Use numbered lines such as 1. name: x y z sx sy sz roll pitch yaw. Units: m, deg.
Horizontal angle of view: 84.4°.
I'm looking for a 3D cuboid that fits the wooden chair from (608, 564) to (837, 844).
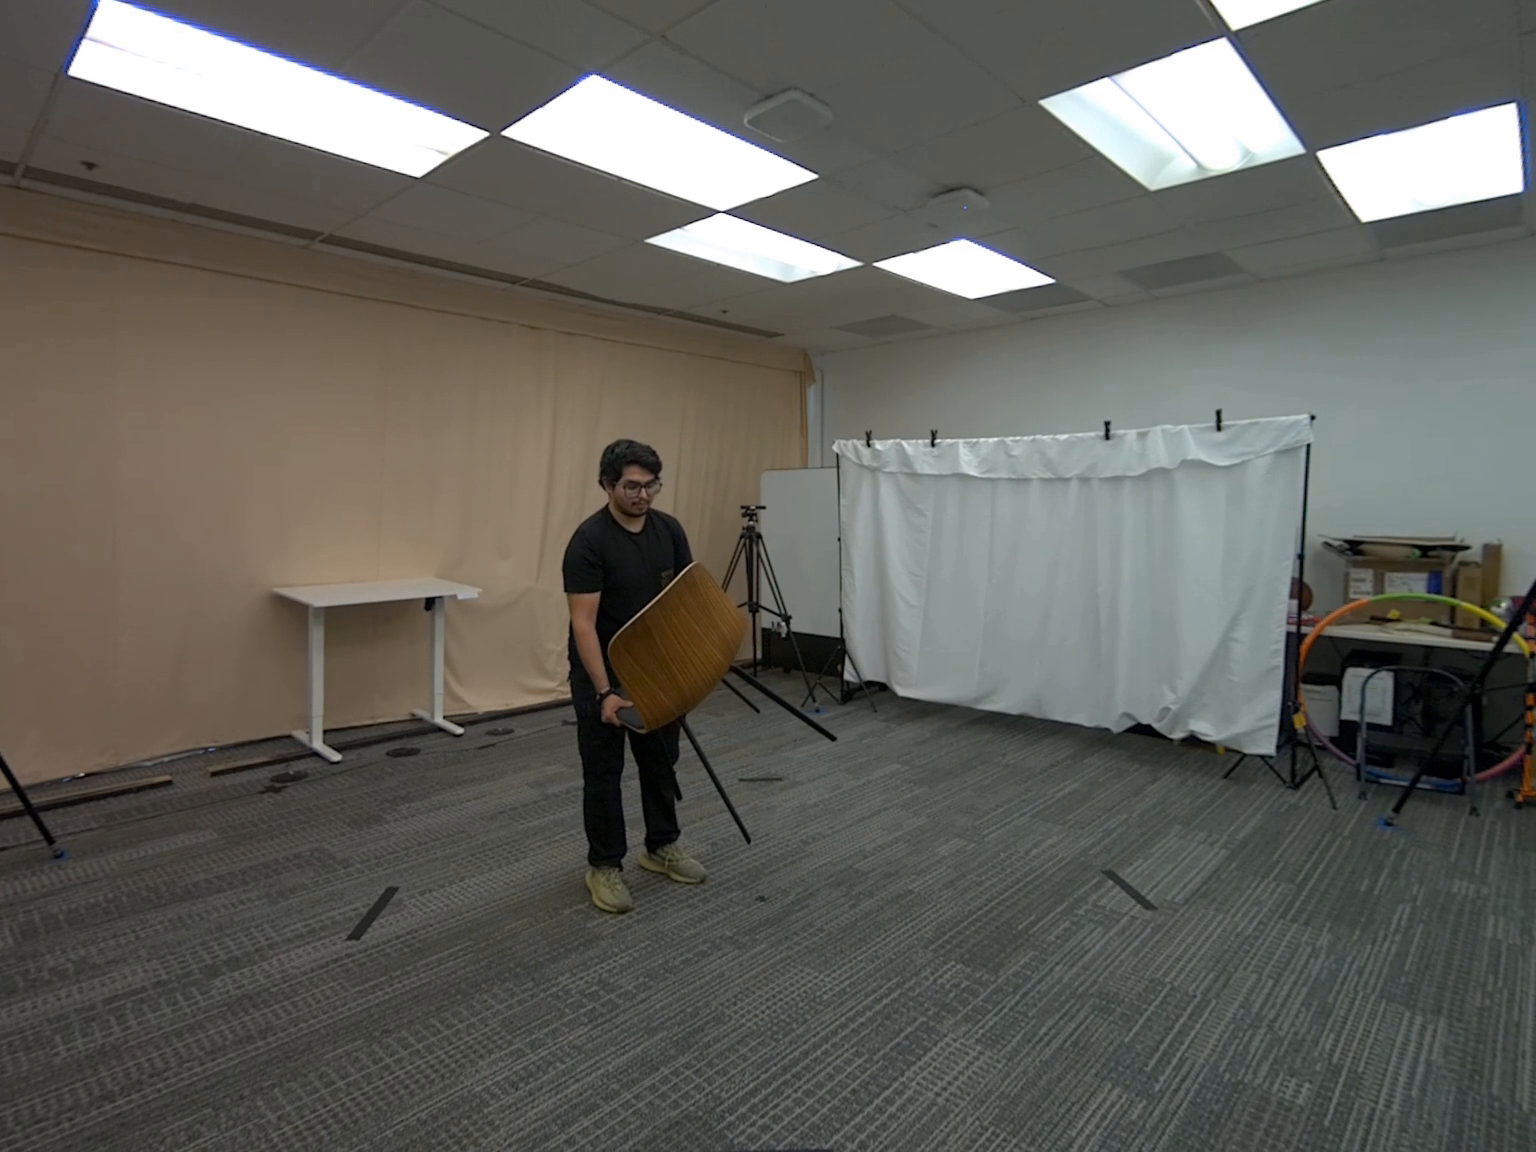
1. wooden chair: -0.258 0.354 2.731 0.474 0.854 0.541 -45 30 -23
